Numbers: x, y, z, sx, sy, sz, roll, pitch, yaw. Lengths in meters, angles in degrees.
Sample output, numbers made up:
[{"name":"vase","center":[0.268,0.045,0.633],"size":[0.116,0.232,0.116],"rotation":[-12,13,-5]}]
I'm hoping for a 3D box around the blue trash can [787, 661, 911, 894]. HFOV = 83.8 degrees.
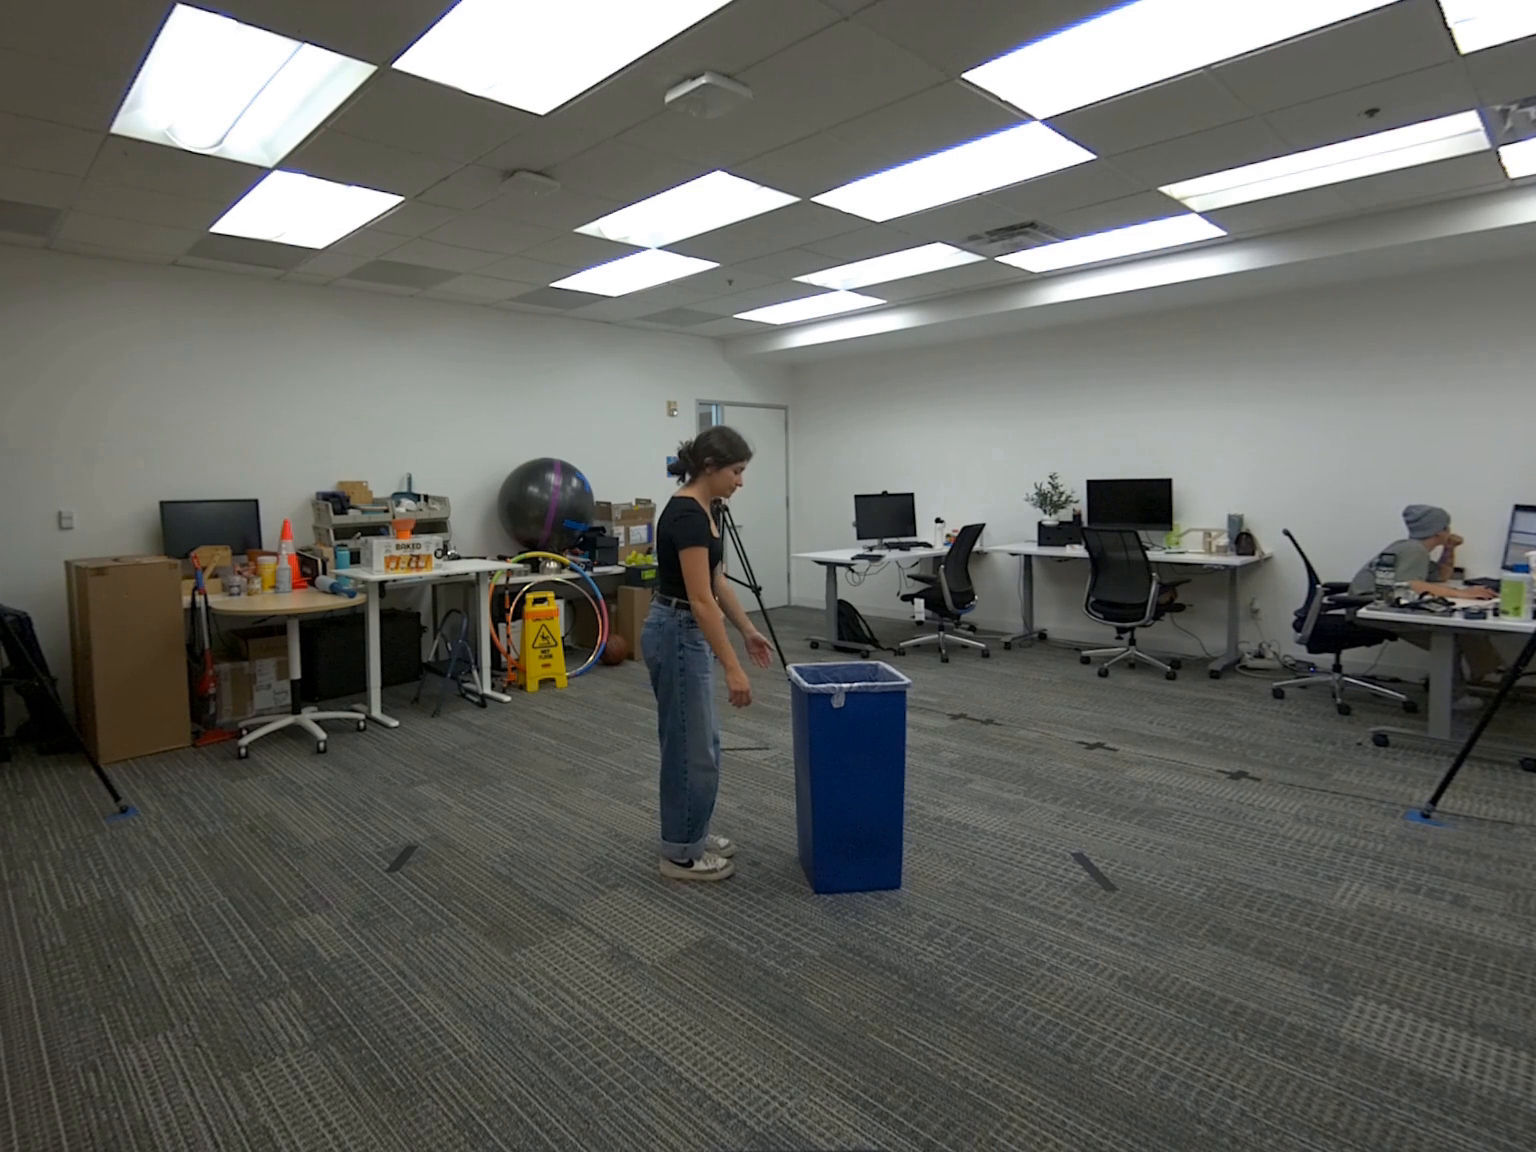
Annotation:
[{"name":"blue trash can","center":[0.274,0.691,3.005],"size":[0.375,0.711,0.378],"rotation":[-1,5,-9]}]
